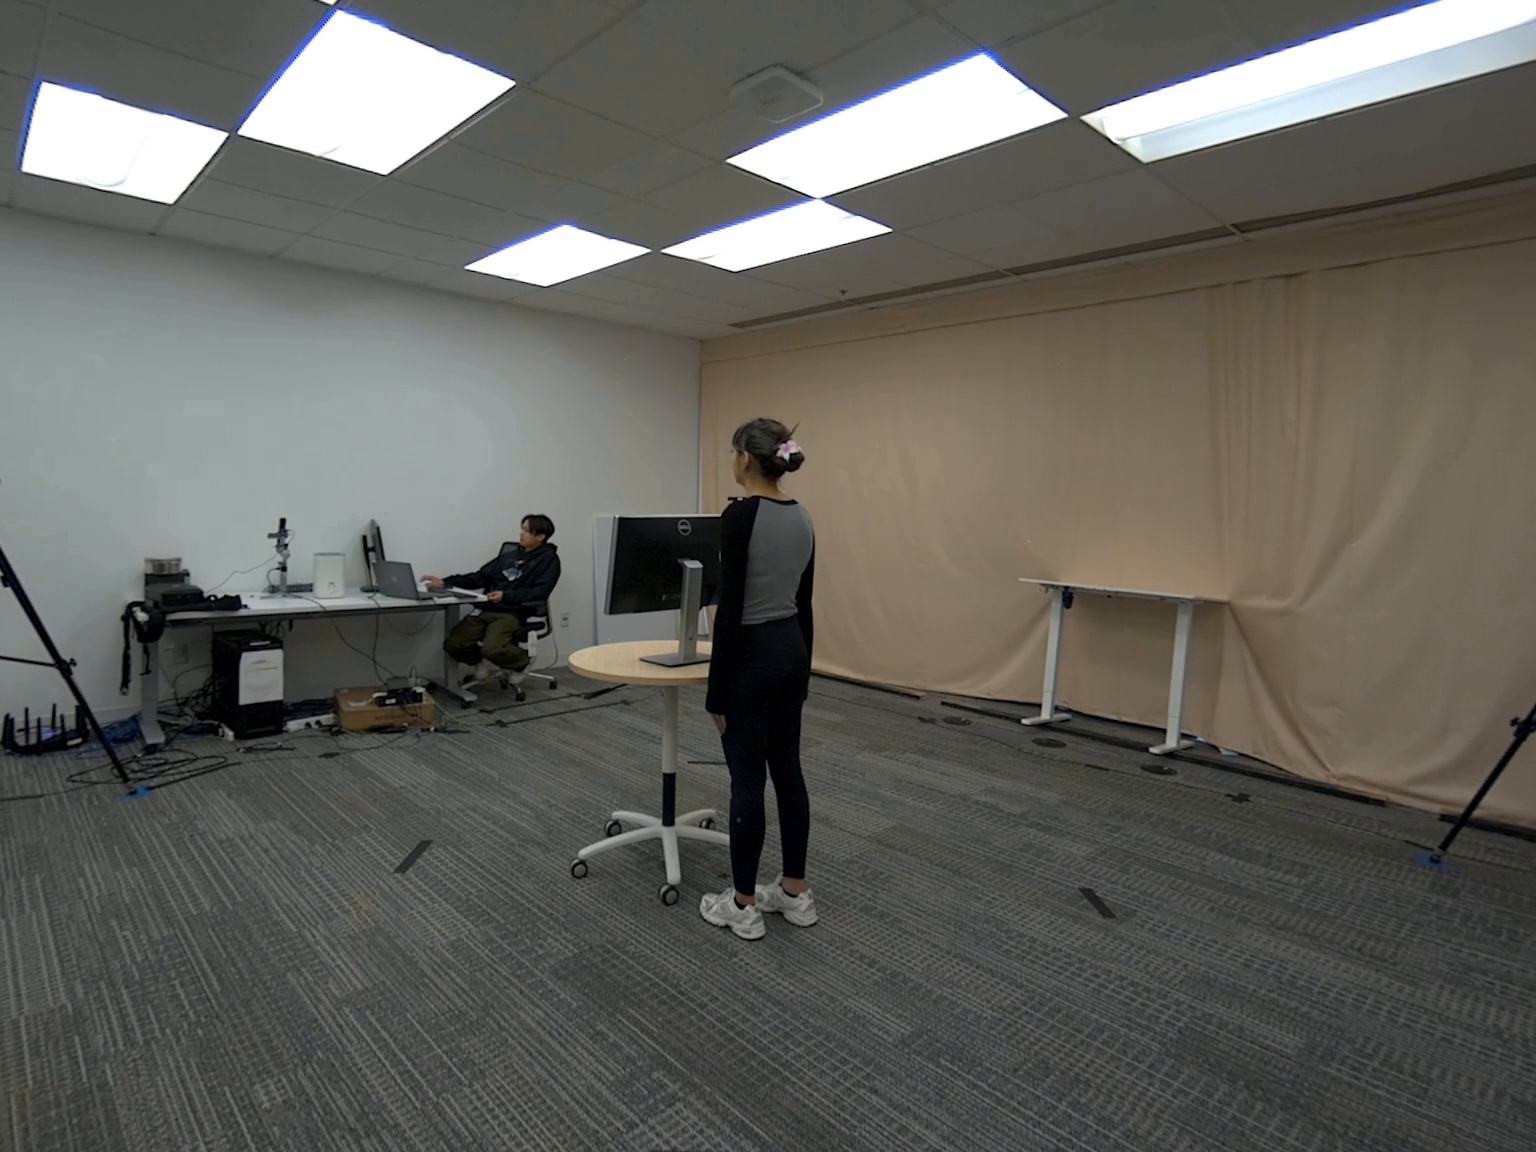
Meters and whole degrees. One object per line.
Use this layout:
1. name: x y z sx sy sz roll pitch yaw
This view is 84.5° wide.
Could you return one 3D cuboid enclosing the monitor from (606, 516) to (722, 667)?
1. monitor: -0.329 0.050 3.108 0.527 0.522 0.191 -3 3 -43
